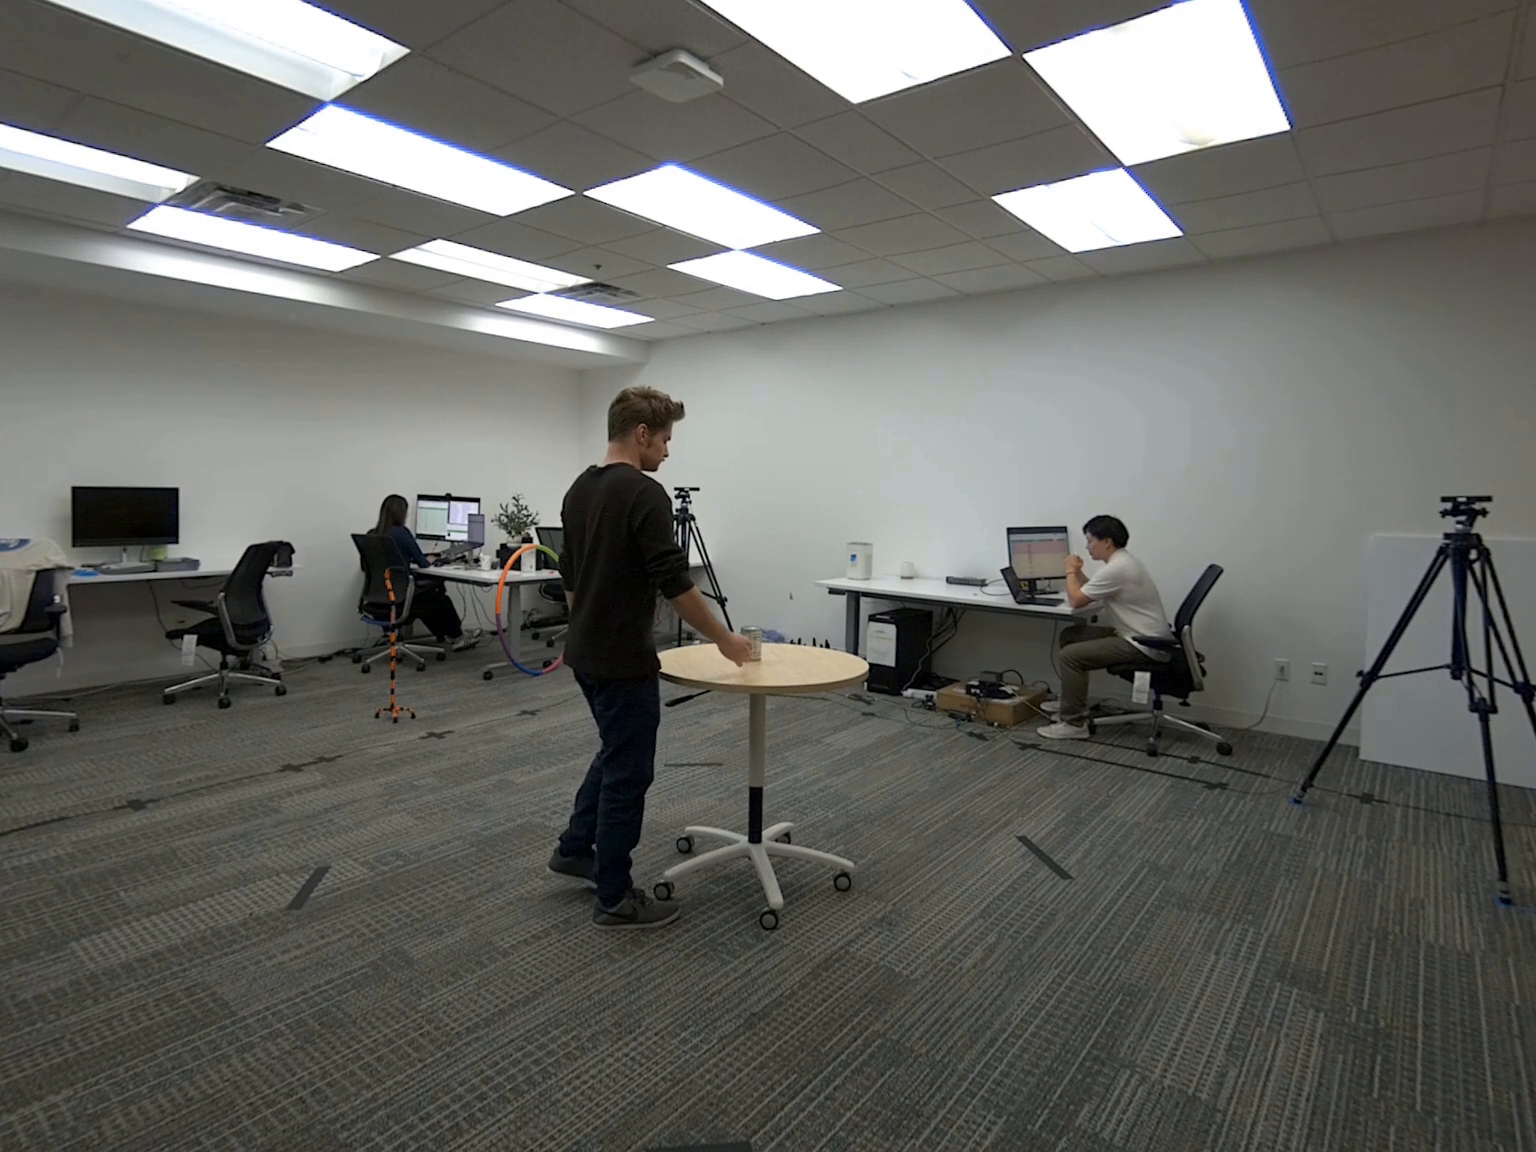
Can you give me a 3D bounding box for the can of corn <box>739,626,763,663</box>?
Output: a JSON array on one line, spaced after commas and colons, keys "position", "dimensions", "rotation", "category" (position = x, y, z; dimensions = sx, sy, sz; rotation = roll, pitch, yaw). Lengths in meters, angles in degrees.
[{"position": [-0.068, 0.240, 3.007], "dimensions": [0.074, 0.110, 0.075], "rotation": [1, 7, -2], "category": "can of corn"}]
